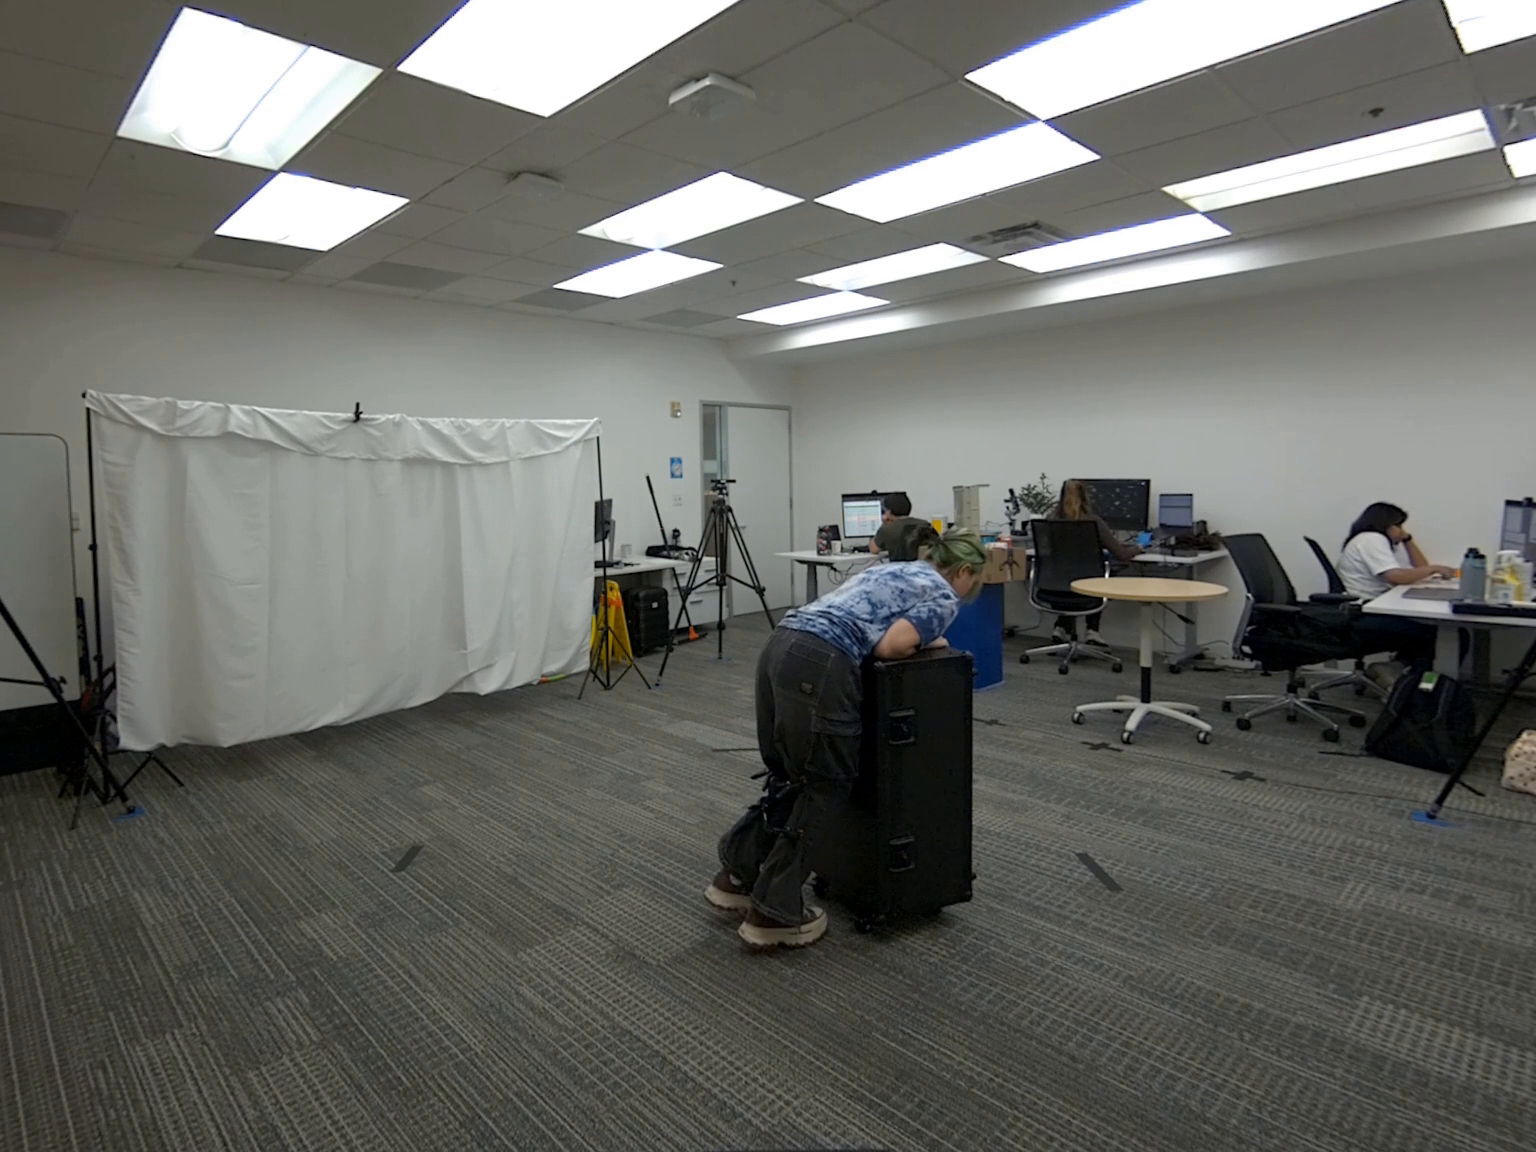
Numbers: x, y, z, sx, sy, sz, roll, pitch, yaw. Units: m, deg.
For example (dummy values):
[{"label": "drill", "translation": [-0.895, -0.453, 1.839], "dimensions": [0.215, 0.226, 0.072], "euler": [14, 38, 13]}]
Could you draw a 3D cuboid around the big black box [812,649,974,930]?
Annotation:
[{"label": "big black box", "translation": [0.385, 0.595, 2.796], "dimensions": [0.388, 0.858, 0.534], "euler": [-2, 5, -26]}]
